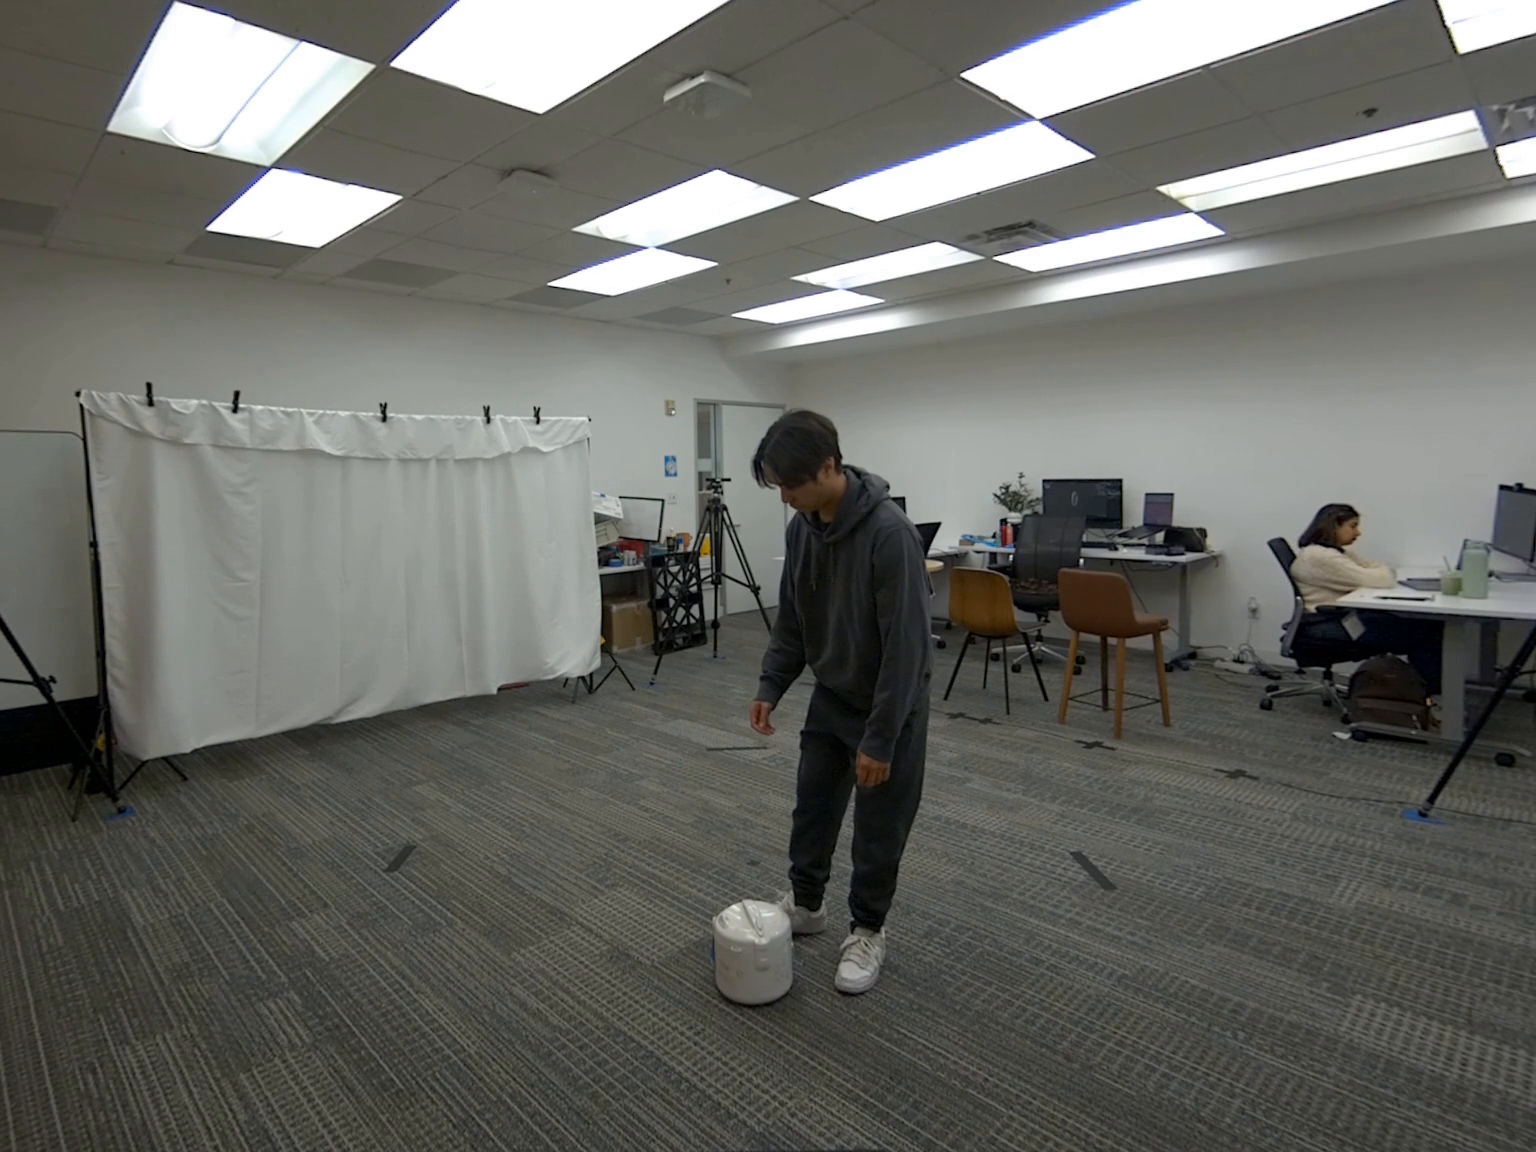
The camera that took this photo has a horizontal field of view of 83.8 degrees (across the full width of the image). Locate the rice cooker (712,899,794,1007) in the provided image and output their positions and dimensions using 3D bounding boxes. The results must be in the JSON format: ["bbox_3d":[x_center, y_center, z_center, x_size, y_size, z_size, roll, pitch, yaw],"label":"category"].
[{"bbox_3d":[-0.030,1.015,2.345,0.215,0.232,0.224,-4,5,-14],"label":"rice cooker"}]
